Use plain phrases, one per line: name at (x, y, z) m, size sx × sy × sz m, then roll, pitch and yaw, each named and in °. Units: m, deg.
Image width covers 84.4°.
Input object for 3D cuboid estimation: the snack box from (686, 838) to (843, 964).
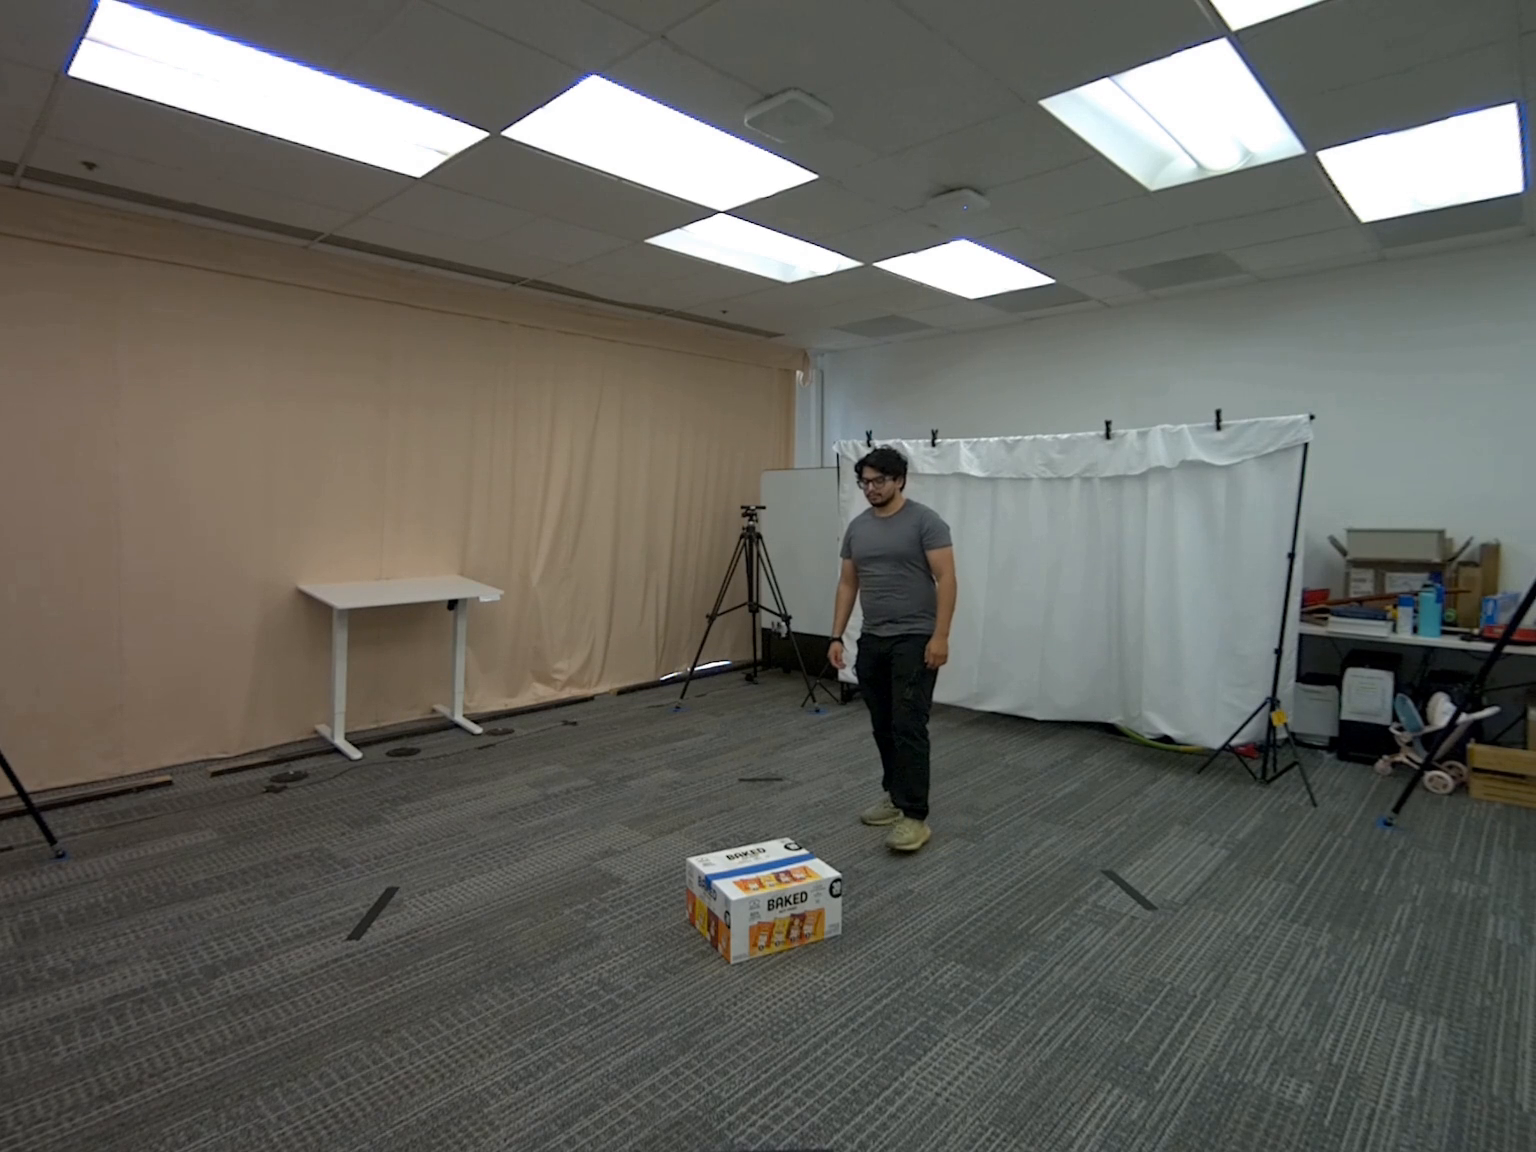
snack box at (-0.016, 1.061, 2.777) m, size 0.395 × 0.205 × 0.350 m, roll -3°, pitch 5°, yaw -28°
